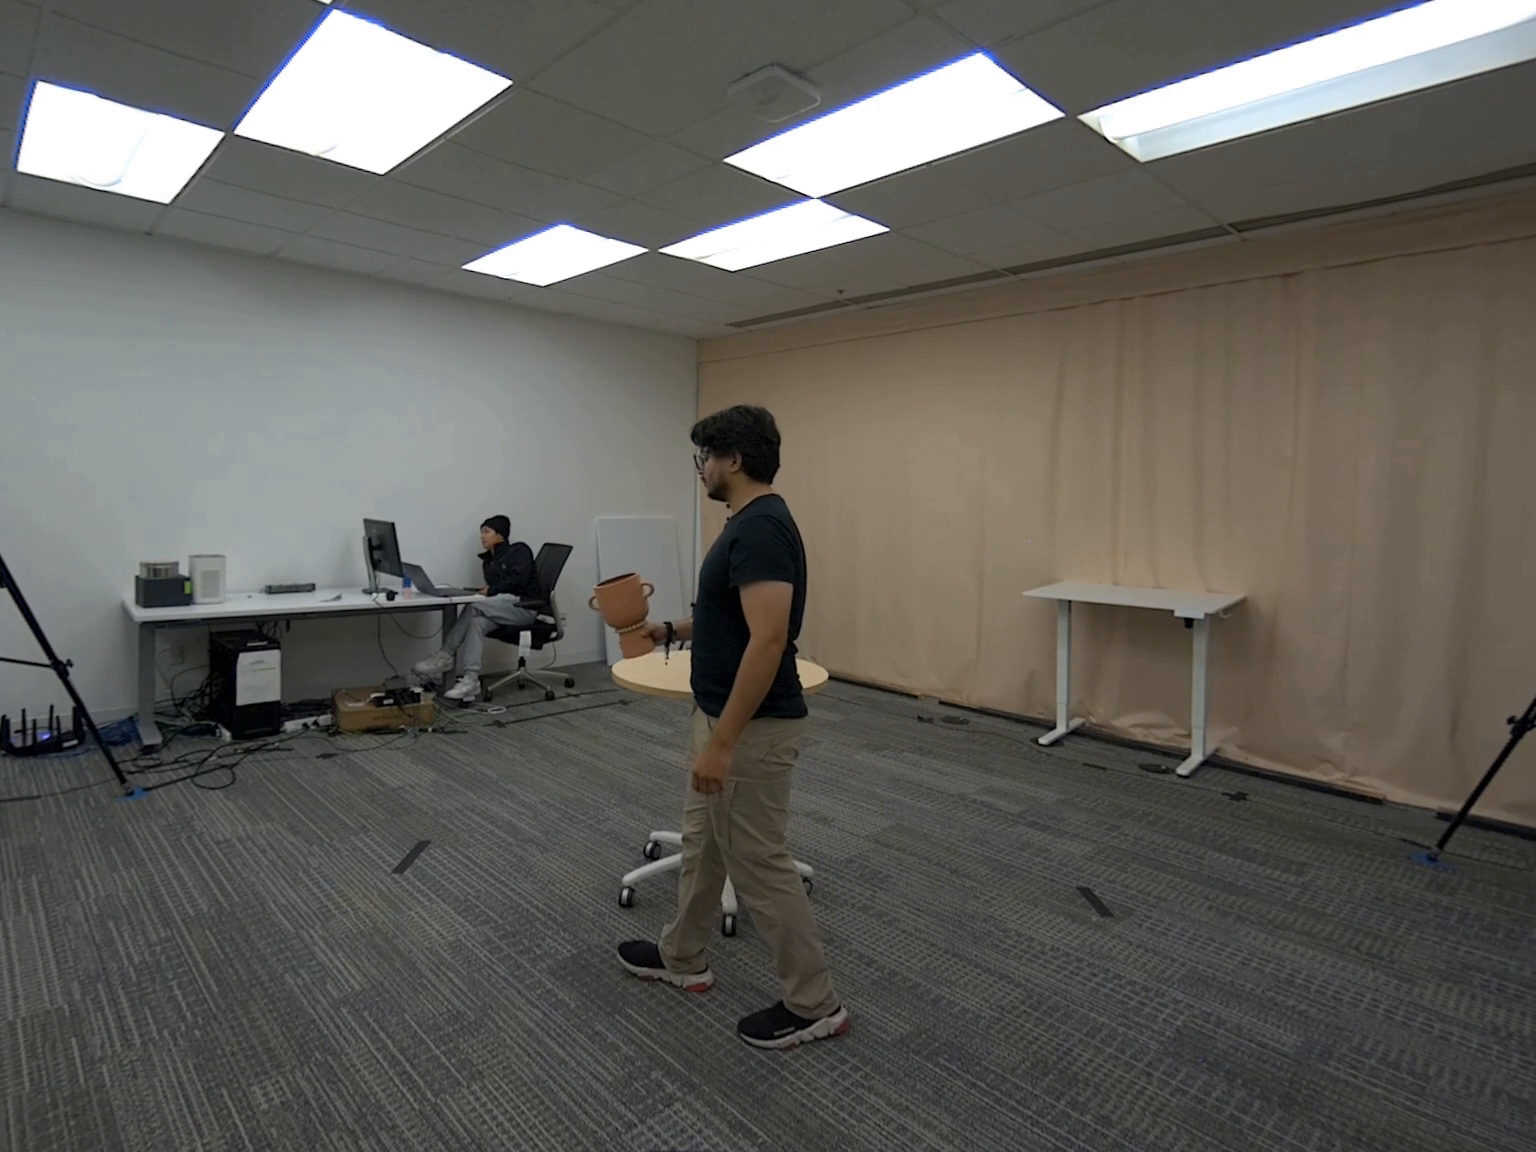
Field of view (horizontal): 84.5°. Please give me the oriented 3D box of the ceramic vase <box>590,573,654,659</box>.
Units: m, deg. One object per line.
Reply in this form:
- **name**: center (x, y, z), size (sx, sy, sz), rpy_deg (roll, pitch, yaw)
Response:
- **ceramic vase**: center (-0.400, 0.112, 2.369), size (0.133, 0.218, 0.162), rpy_deg (-26, 14, -40)
